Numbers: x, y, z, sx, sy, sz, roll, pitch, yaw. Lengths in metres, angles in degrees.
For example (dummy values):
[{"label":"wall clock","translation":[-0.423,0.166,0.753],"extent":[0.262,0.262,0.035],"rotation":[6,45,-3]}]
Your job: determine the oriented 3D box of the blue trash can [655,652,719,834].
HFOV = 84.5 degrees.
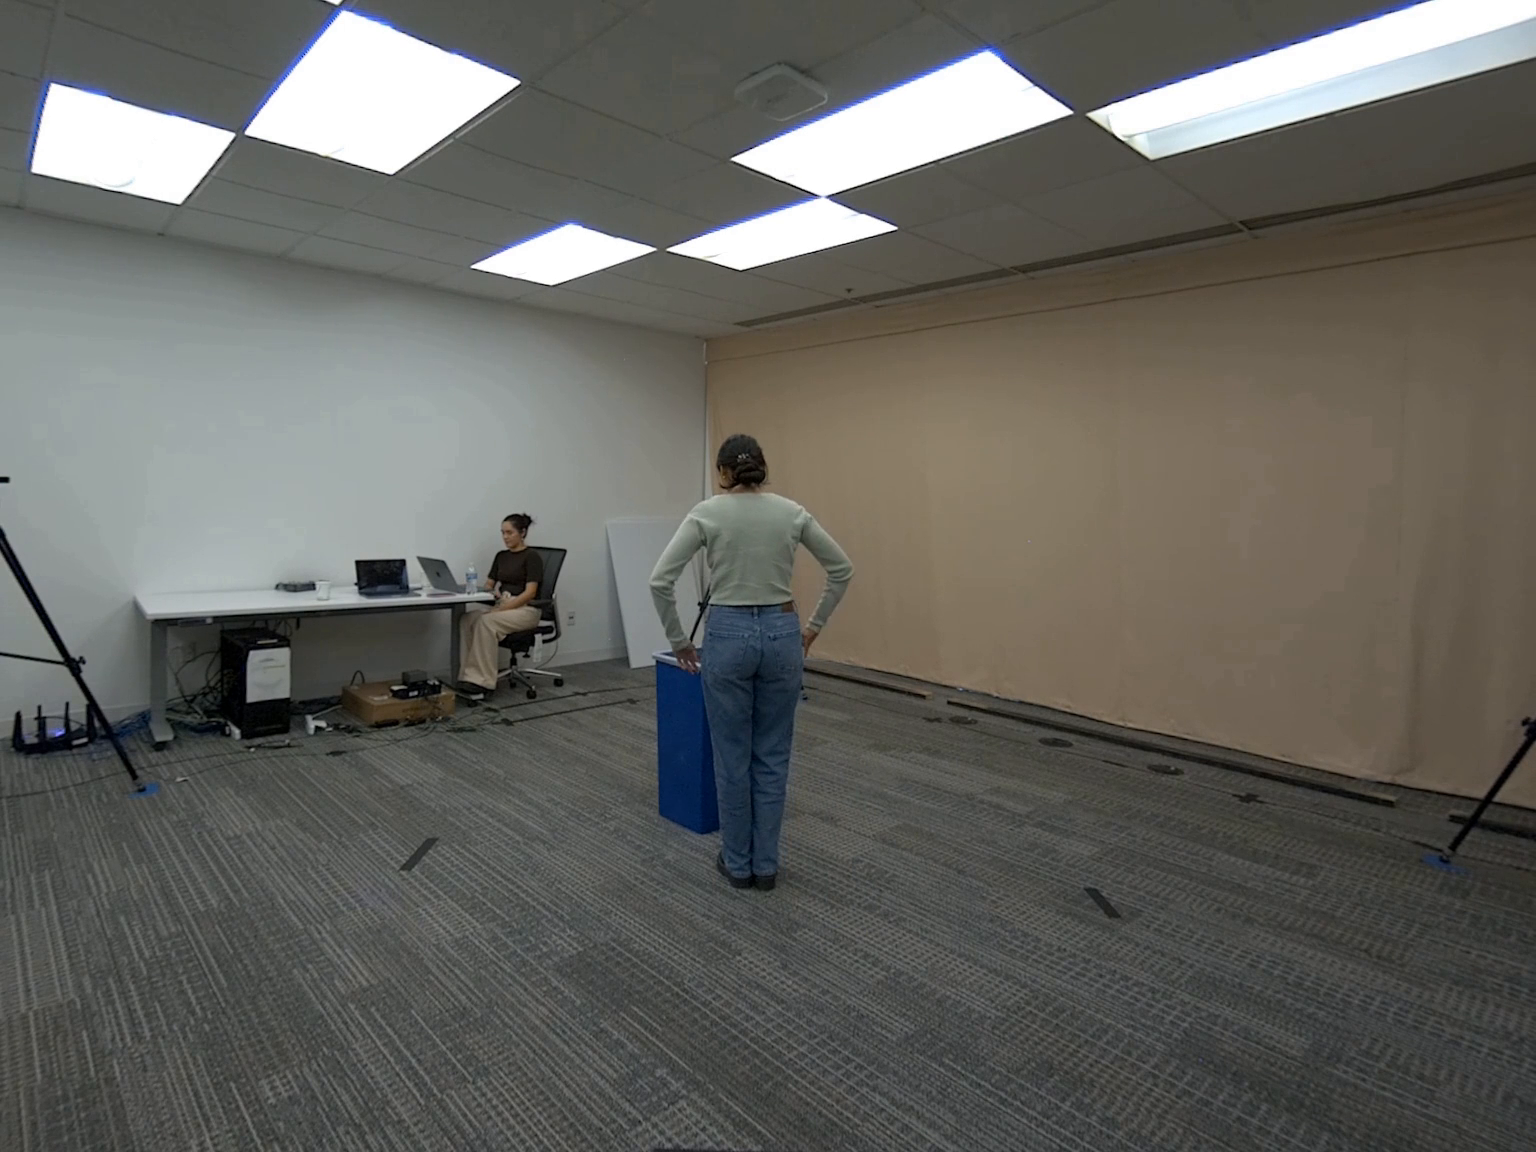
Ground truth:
[{"label":"blue trash can","translation":[-0.279,0.693,3.661],"extent":[0.369,0.712,0.383],"rotation":[-2,5,-44]}]
